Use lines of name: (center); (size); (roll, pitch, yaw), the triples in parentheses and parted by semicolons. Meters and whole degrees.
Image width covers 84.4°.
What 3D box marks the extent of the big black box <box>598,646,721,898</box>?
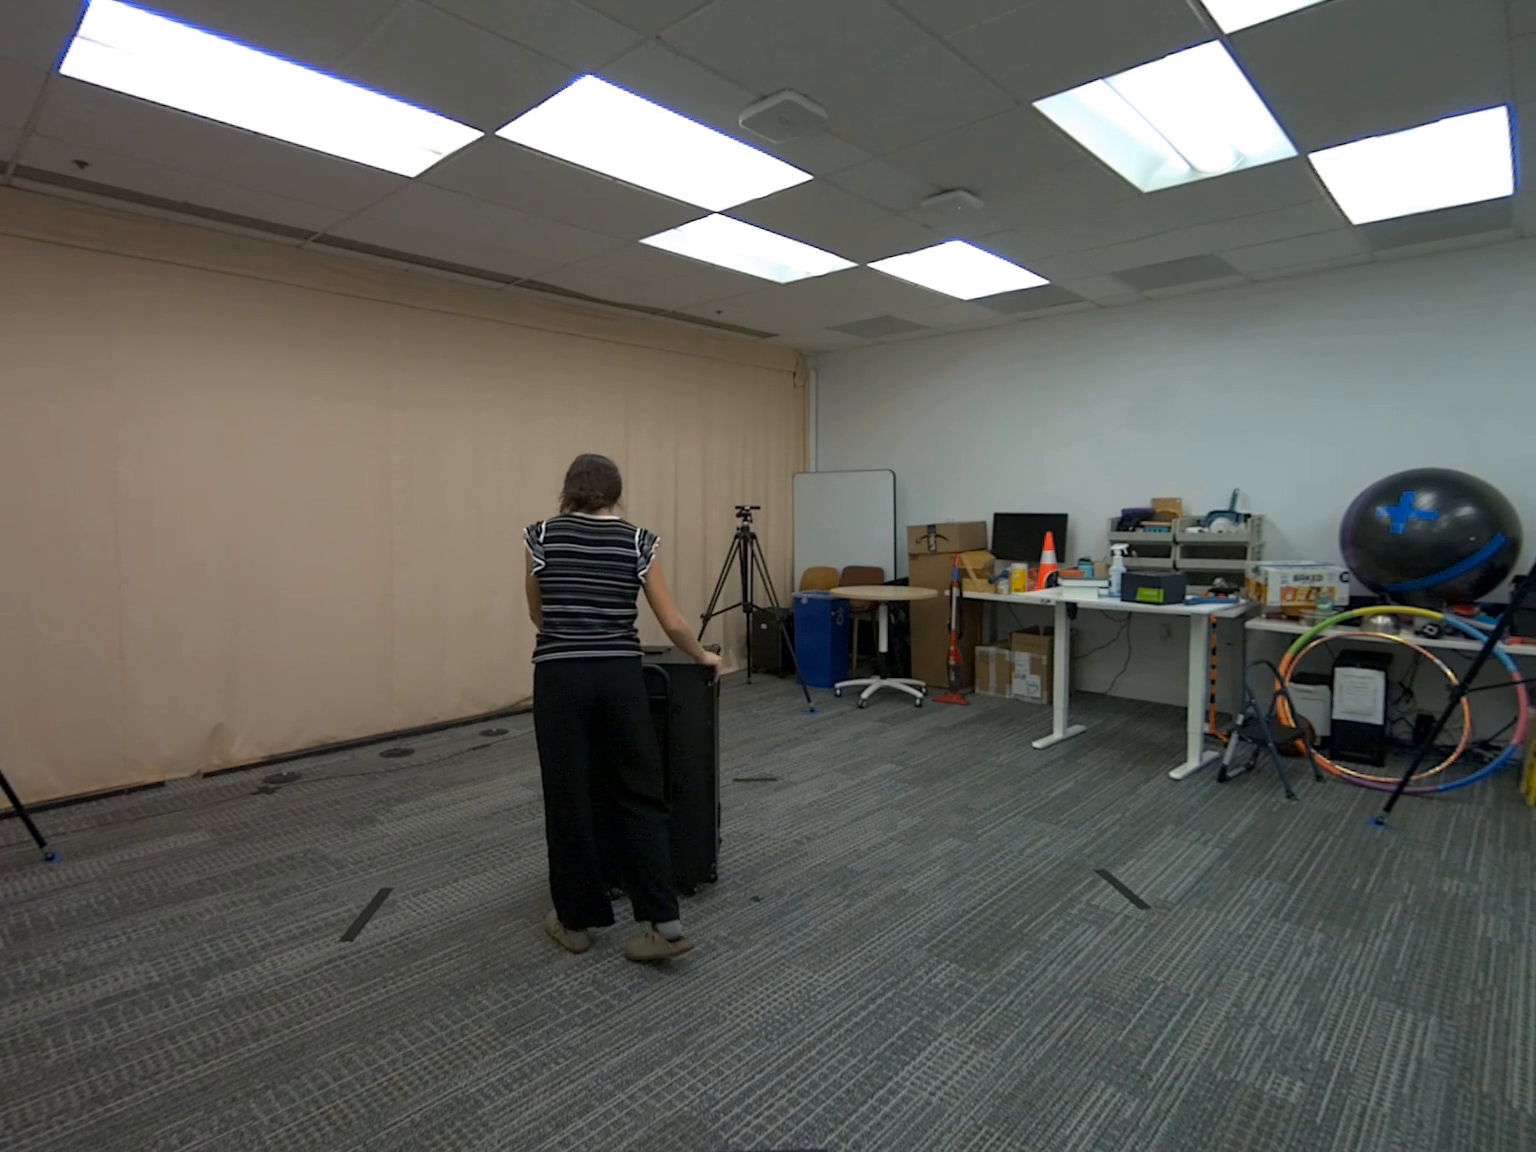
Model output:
big black box: (-0.418, 0.711, 3.110); (0.522, 0.859, 0.396); (0, 4, 1)
